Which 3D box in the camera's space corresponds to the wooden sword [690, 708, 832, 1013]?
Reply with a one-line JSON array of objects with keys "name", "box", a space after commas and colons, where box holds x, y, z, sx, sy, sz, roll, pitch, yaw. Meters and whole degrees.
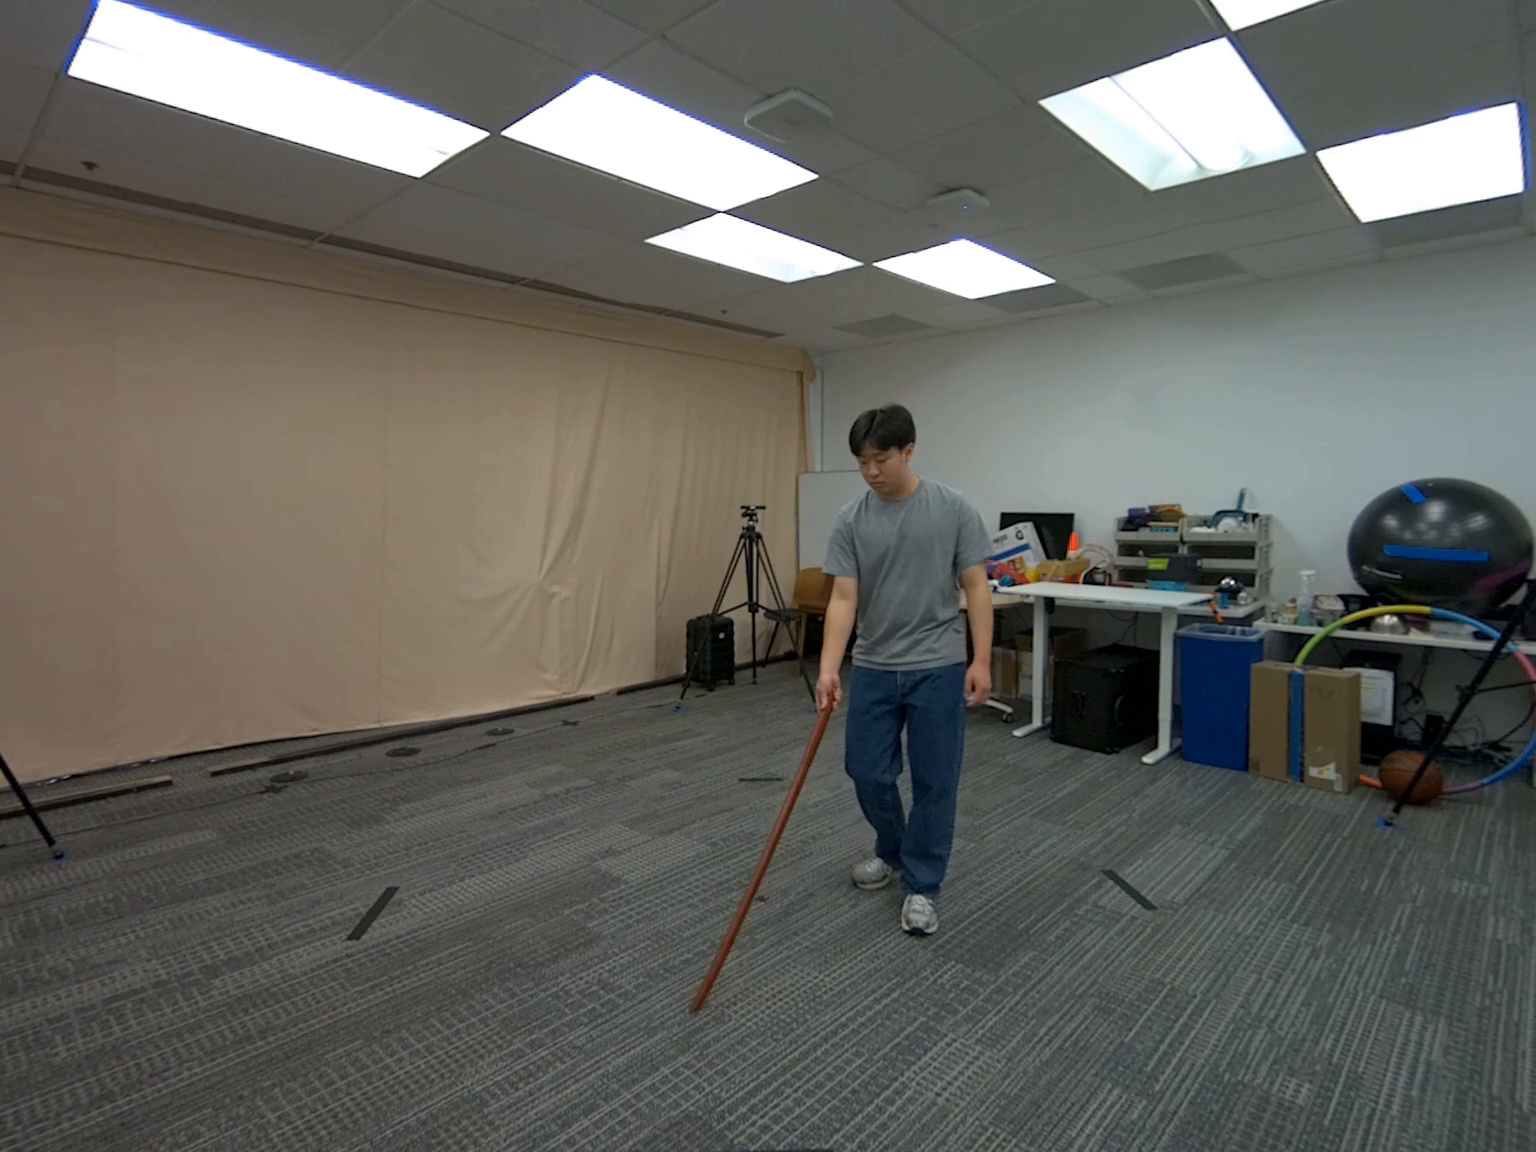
[{"name": "wooden sword", "box": [0.023, 0.803, 2.529, 0.024, 1.025, 0.051, 25, -25, 6]}]
